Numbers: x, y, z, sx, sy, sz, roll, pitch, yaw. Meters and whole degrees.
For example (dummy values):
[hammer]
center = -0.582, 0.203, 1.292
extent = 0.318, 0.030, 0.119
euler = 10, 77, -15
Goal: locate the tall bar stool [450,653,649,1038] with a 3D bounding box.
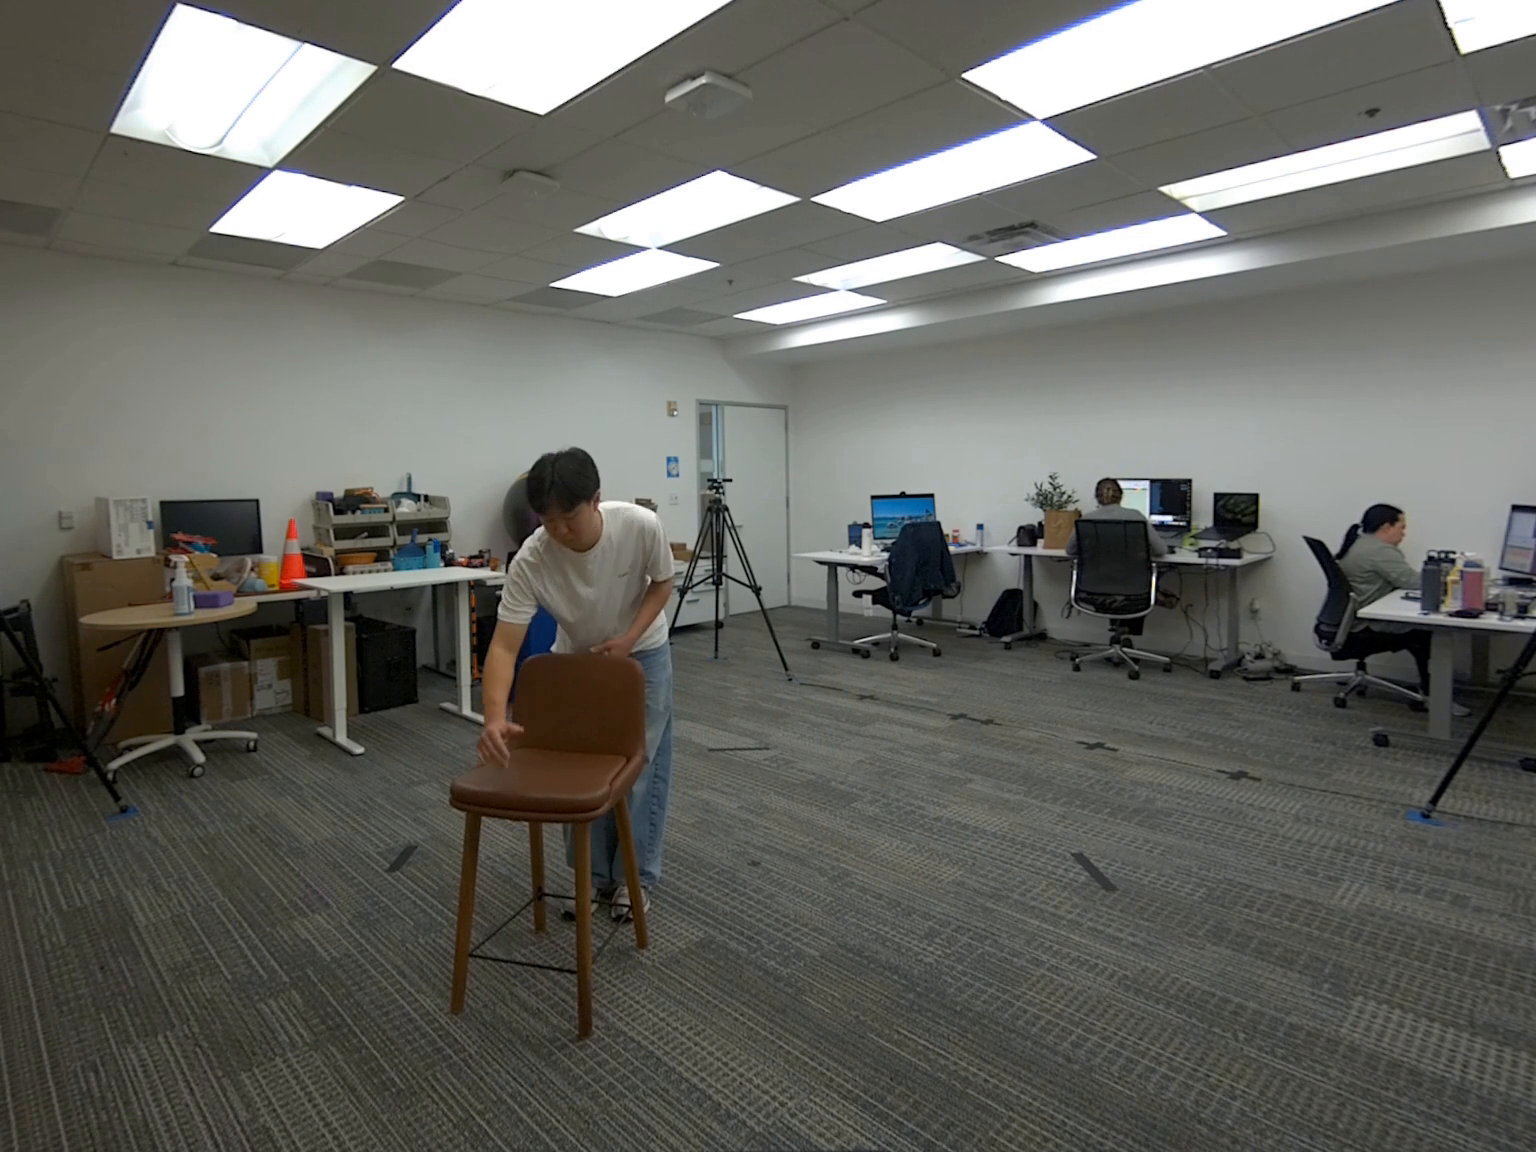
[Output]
[tall bar stool]
center = -0.597, 0.703, 2.397
extent = 0.464, 0.888, 0.461
euler = 1, 3, 17
